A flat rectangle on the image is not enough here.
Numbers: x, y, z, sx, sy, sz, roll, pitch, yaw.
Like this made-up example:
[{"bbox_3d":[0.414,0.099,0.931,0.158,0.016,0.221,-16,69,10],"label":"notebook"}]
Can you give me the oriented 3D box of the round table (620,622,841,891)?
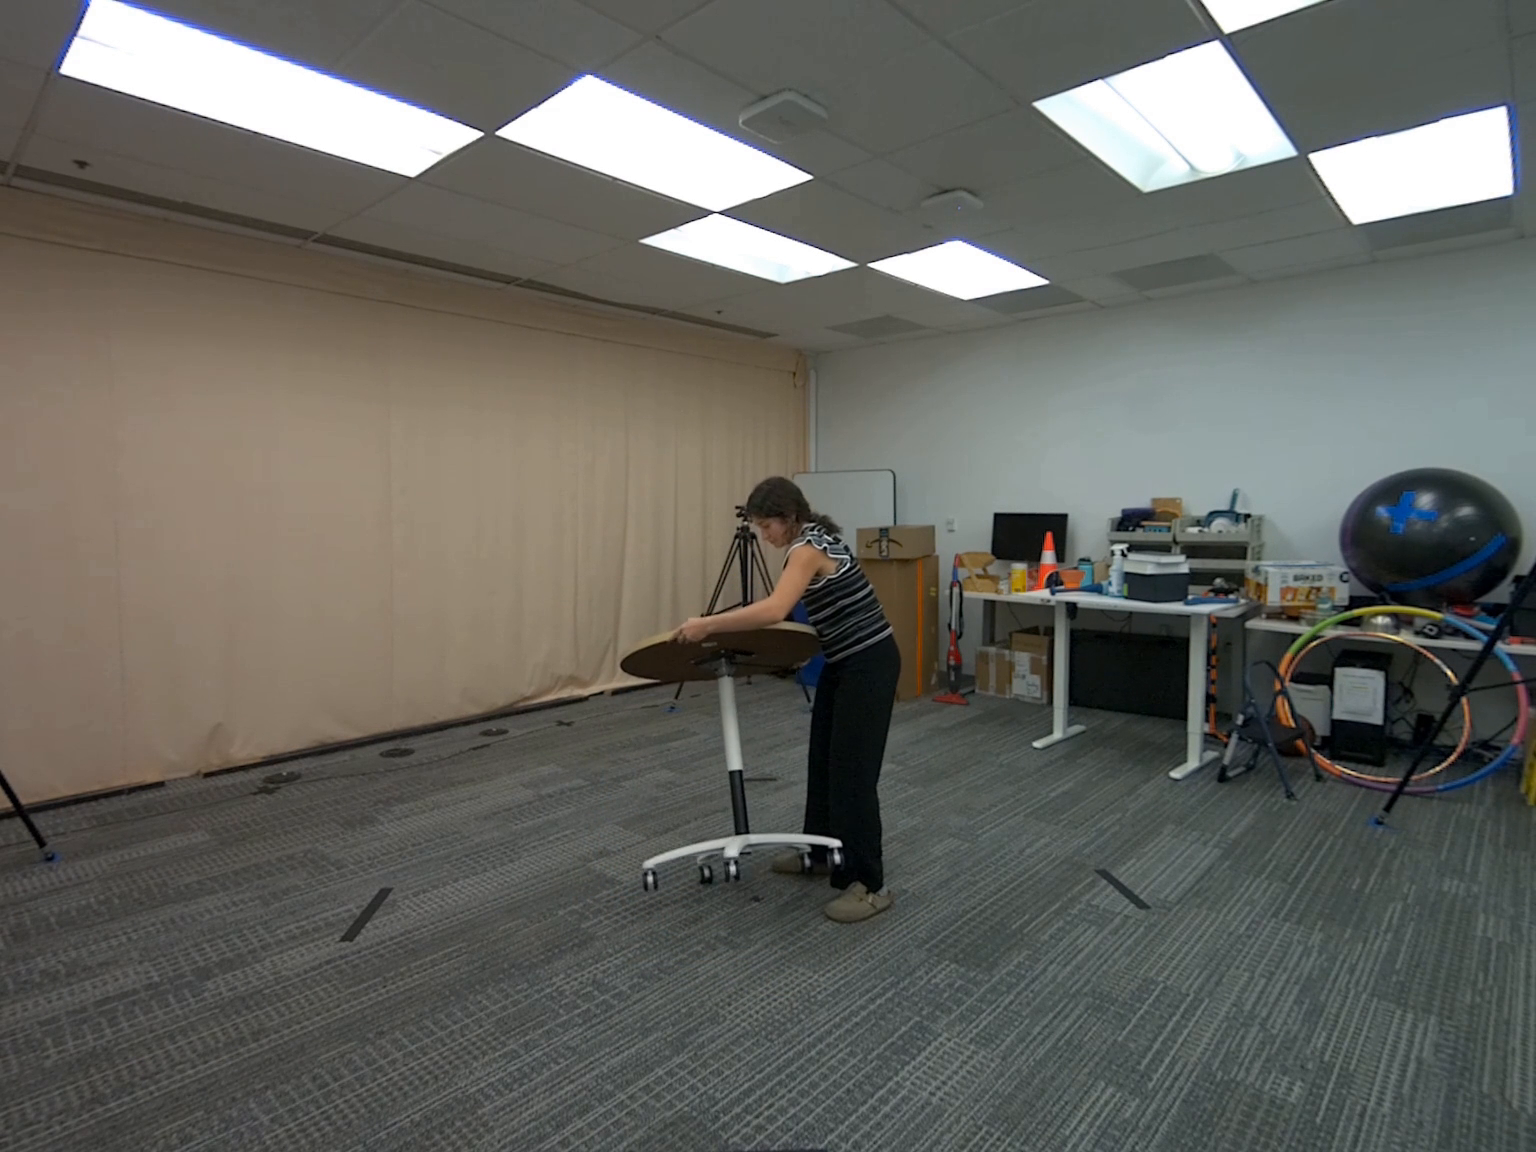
[{"bbox_3d":[-0.133,0.658,3.000,0.762,0.805,0.756,-6,-19,-4],"label":"round table"}]
